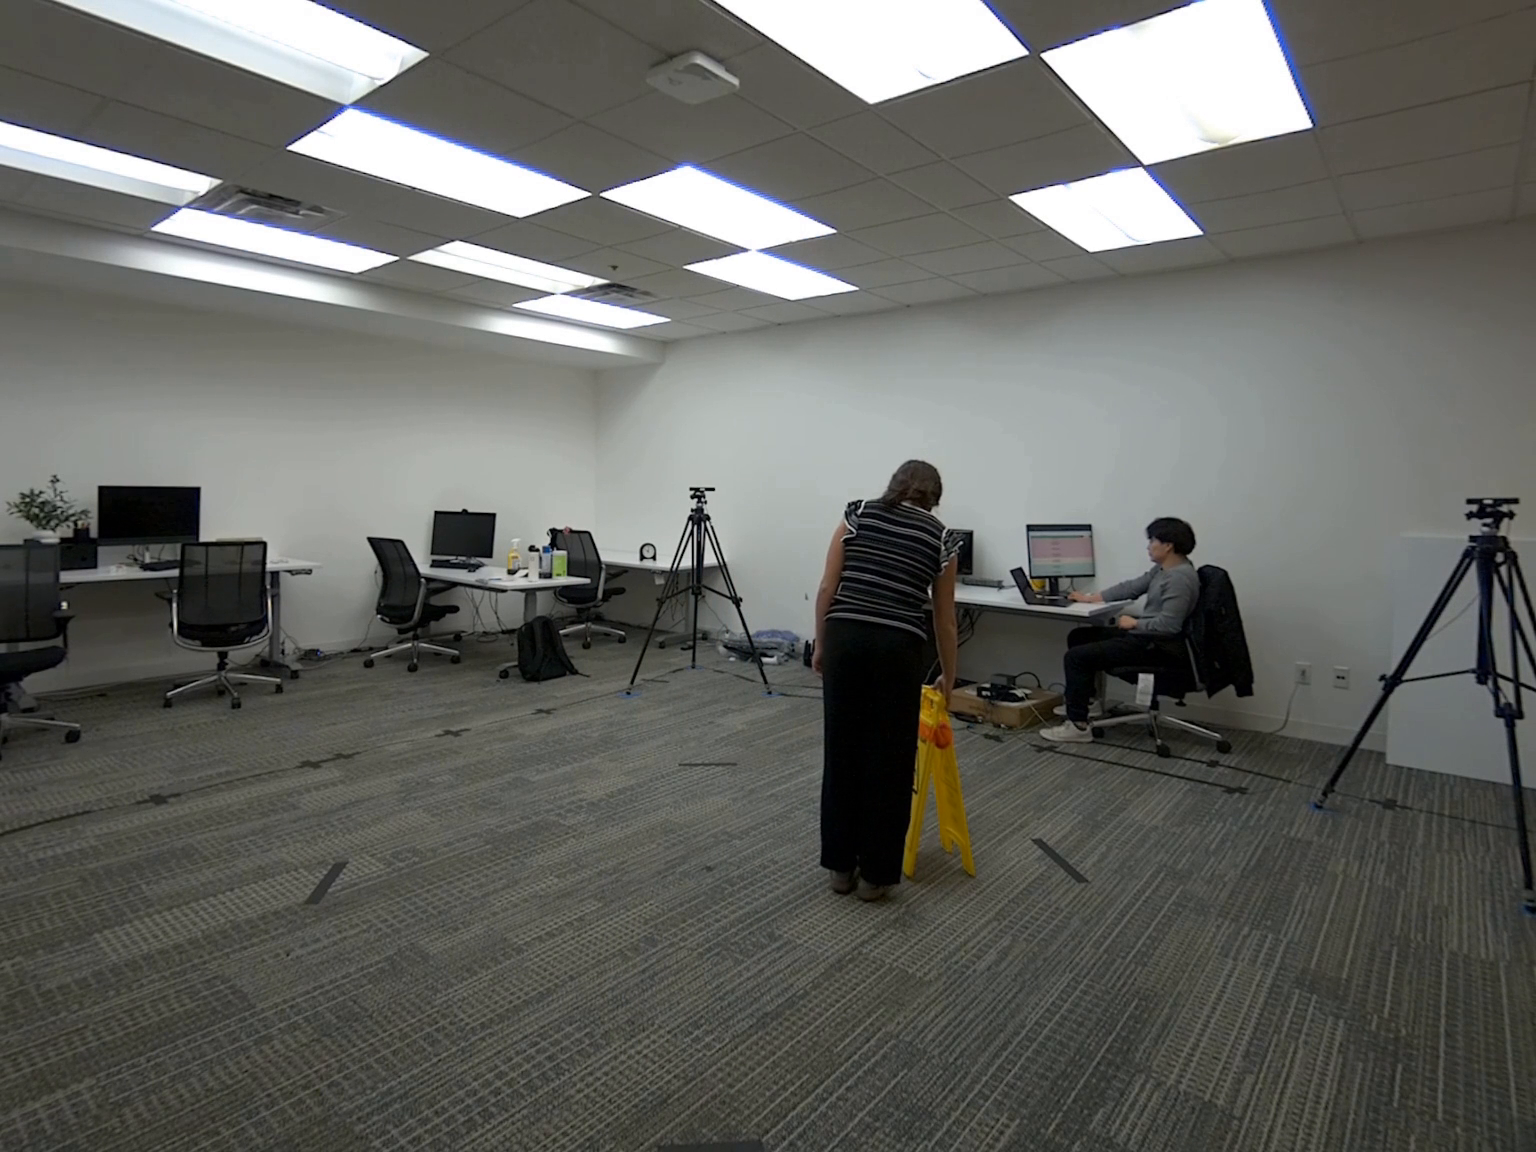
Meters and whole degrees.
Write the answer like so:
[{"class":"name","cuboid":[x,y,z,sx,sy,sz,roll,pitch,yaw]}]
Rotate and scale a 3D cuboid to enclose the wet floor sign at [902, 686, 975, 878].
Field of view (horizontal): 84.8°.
[{"class":"wet floor sign","cuboid":[0.603,0.744,3.203,0.287,0.645,0.285,1,2,-9]}]
